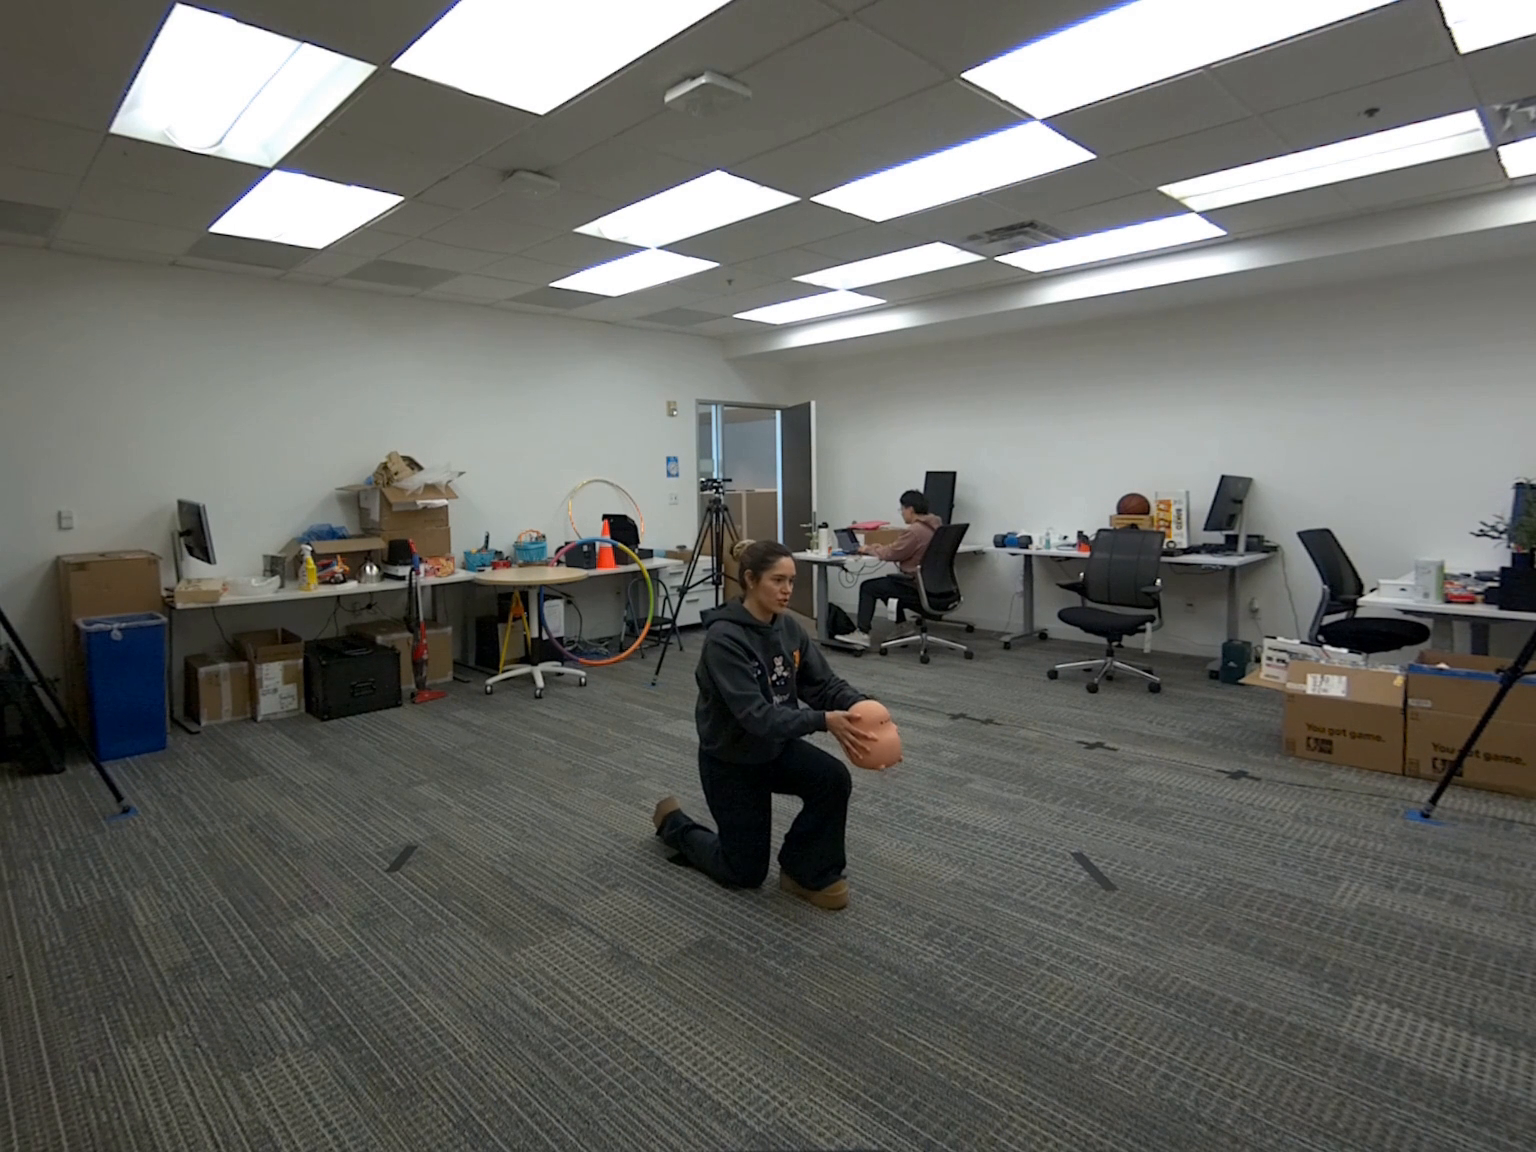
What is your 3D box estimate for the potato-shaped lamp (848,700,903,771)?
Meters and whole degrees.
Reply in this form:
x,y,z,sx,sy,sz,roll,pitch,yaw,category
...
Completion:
x,y,z,sx,sy,sz,roll,pitch,yaw,category
0.304,0.484,2.589,0.176,0.198,0.160,-3,2,45,potato-shaped lamp
